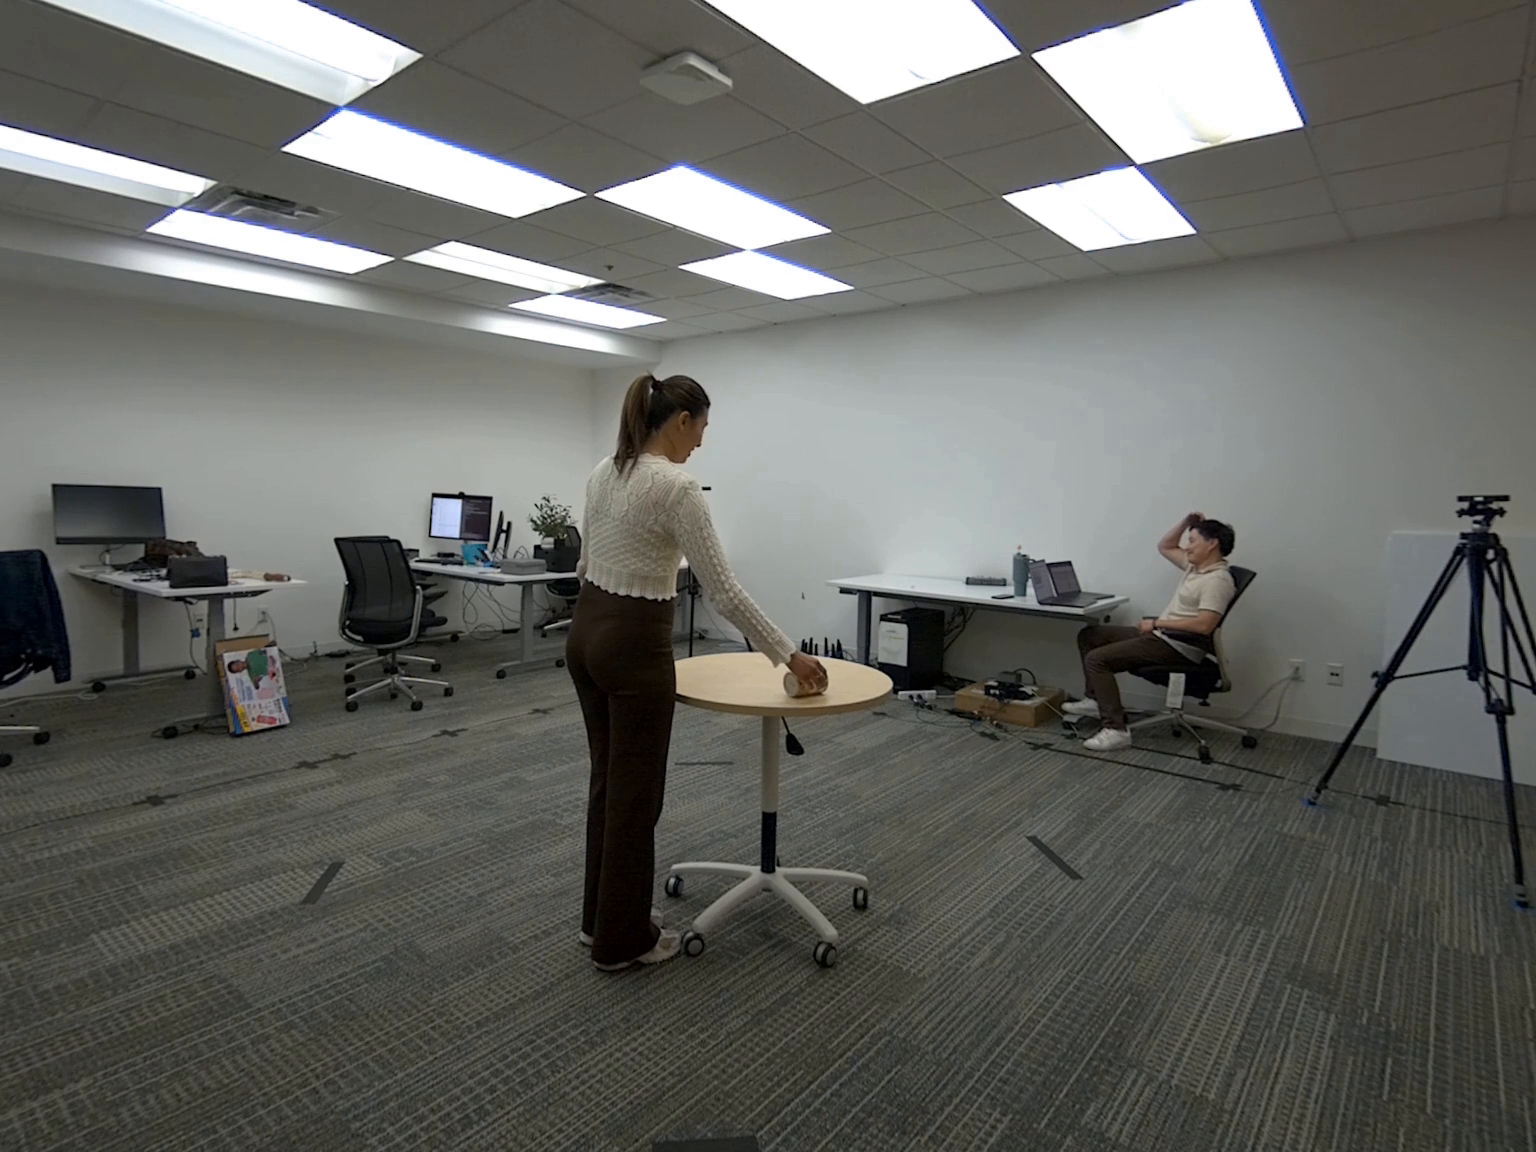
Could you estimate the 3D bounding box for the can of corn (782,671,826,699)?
[{"bbox_3d":[0.102,0.313,2.506,0.108,0.074,0.076,-2,5,-28],"label":"can of corn"}]
